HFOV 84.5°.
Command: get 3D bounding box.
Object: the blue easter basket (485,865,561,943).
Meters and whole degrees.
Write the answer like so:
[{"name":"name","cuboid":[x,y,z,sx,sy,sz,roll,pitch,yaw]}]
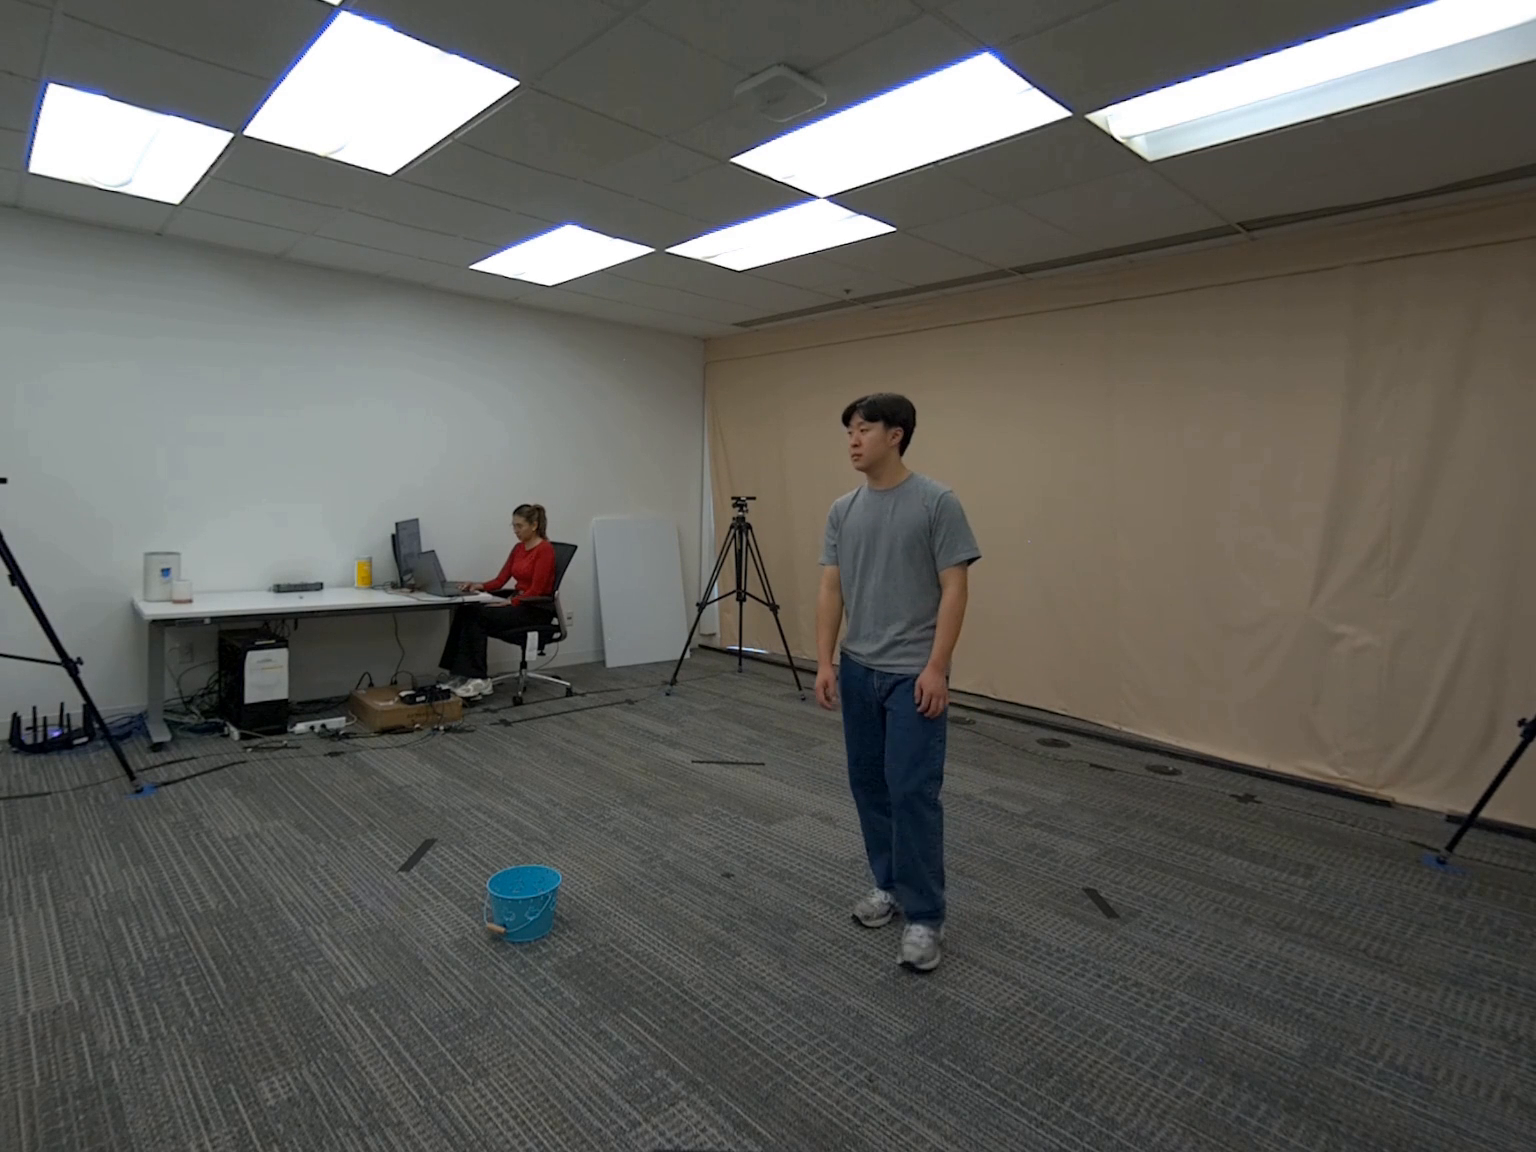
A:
[{"name":"blue easter basket","cuboid":[-0.789,1.050,2.699,0.243,0.155,0.244,0,5,-1]}]
